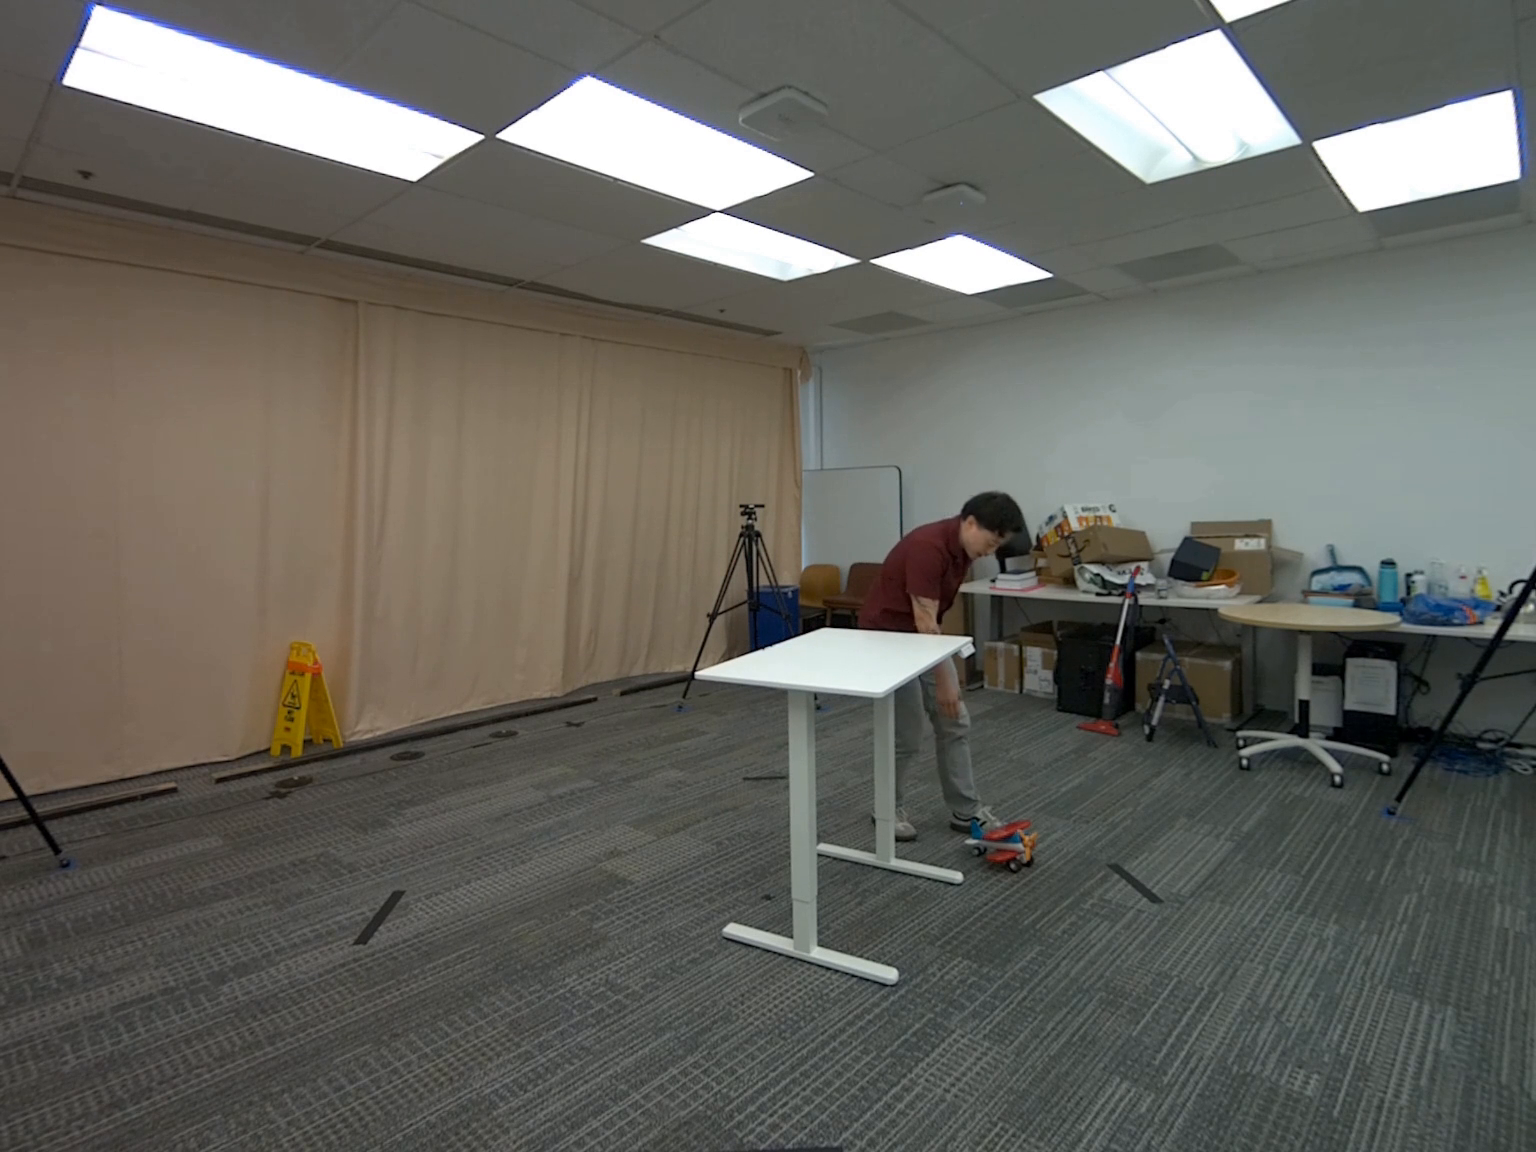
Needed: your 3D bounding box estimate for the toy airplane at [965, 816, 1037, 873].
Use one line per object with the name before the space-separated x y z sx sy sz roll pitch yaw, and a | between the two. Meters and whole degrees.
toy airplane | 0.889 1.029 3.233 0.265 0.156 0.246 2 4 21
